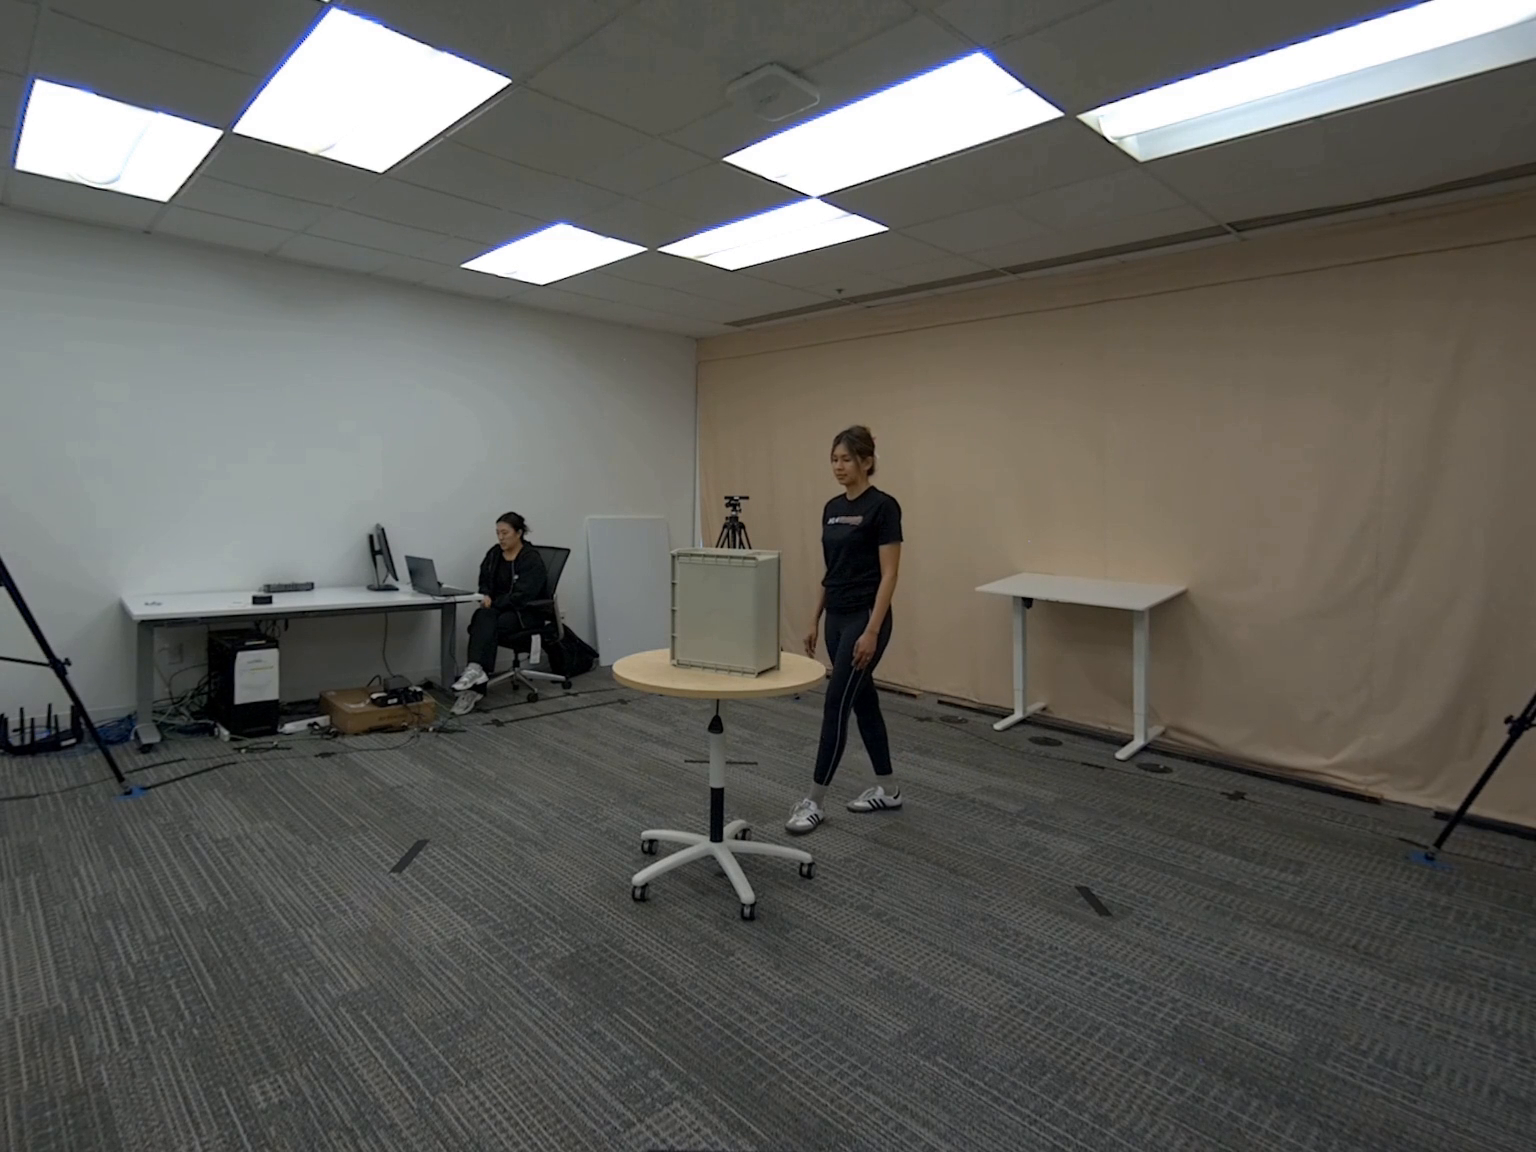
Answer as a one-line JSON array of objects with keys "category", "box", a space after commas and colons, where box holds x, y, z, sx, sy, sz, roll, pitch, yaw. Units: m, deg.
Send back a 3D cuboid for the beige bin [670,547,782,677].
[{"category": "beige bin", "box": [-0.168, 0.120, 2.984, 0.385, 0.421, 0.185, 3, 5, 29]}]
